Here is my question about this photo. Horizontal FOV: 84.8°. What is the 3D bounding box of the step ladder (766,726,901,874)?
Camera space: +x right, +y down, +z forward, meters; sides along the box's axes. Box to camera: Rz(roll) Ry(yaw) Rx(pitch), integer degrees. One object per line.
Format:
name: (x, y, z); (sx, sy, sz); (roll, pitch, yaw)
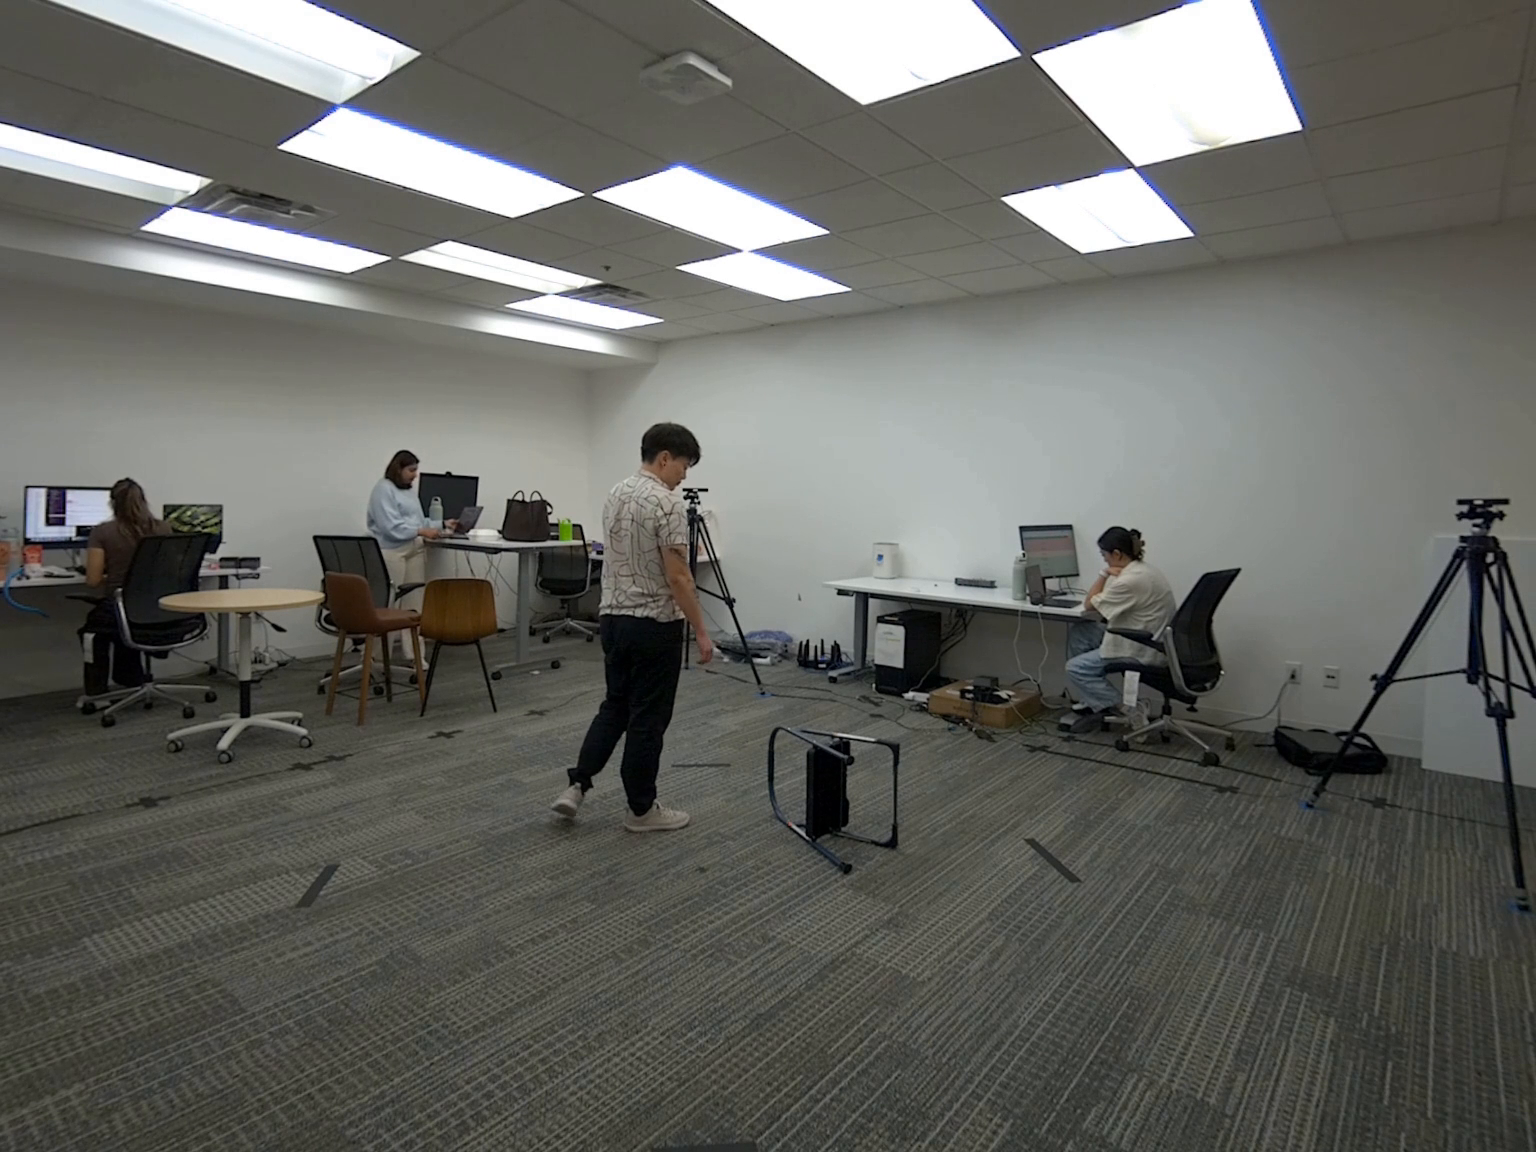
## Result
step ladder: (0.172, 0.837, 3.420); (0.627, 0.430, 0.338); (6, 4, 44)
